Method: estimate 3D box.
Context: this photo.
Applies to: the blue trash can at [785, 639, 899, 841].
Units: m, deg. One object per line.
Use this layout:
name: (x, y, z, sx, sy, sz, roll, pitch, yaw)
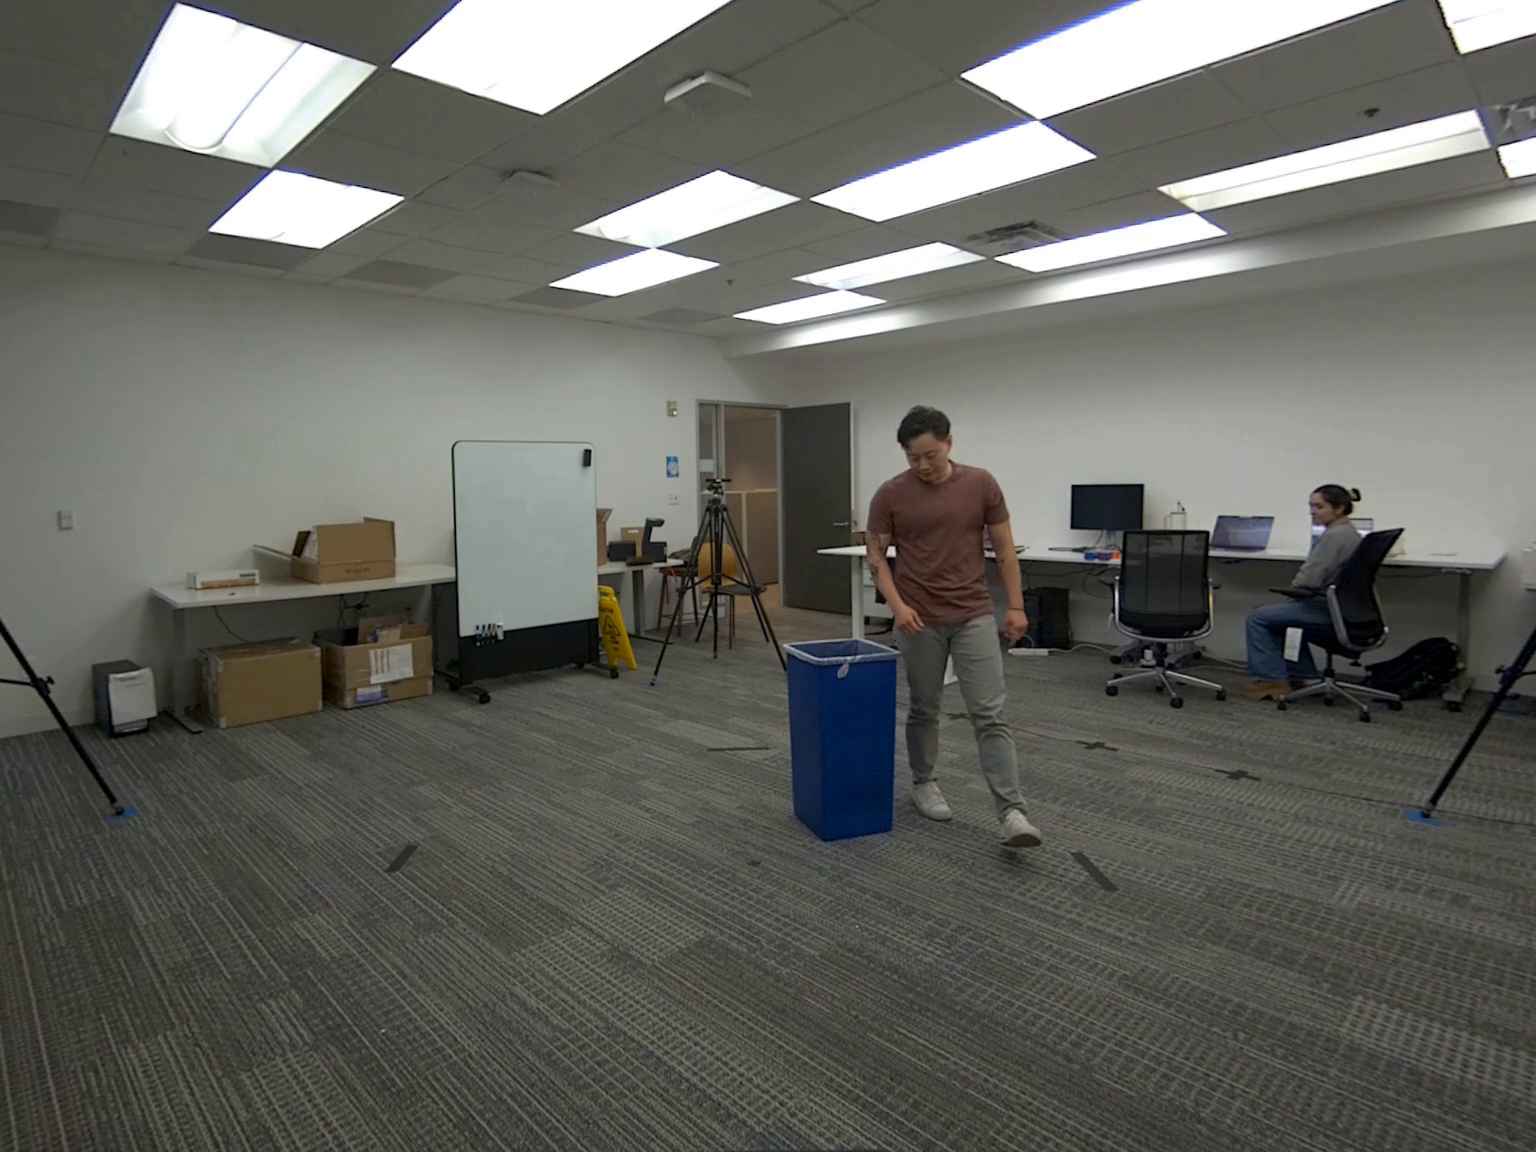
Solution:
blue trash can: (0.288, 0.640, 3.447, 0.371, 0.711, 0.382, -2, 4, -21)
